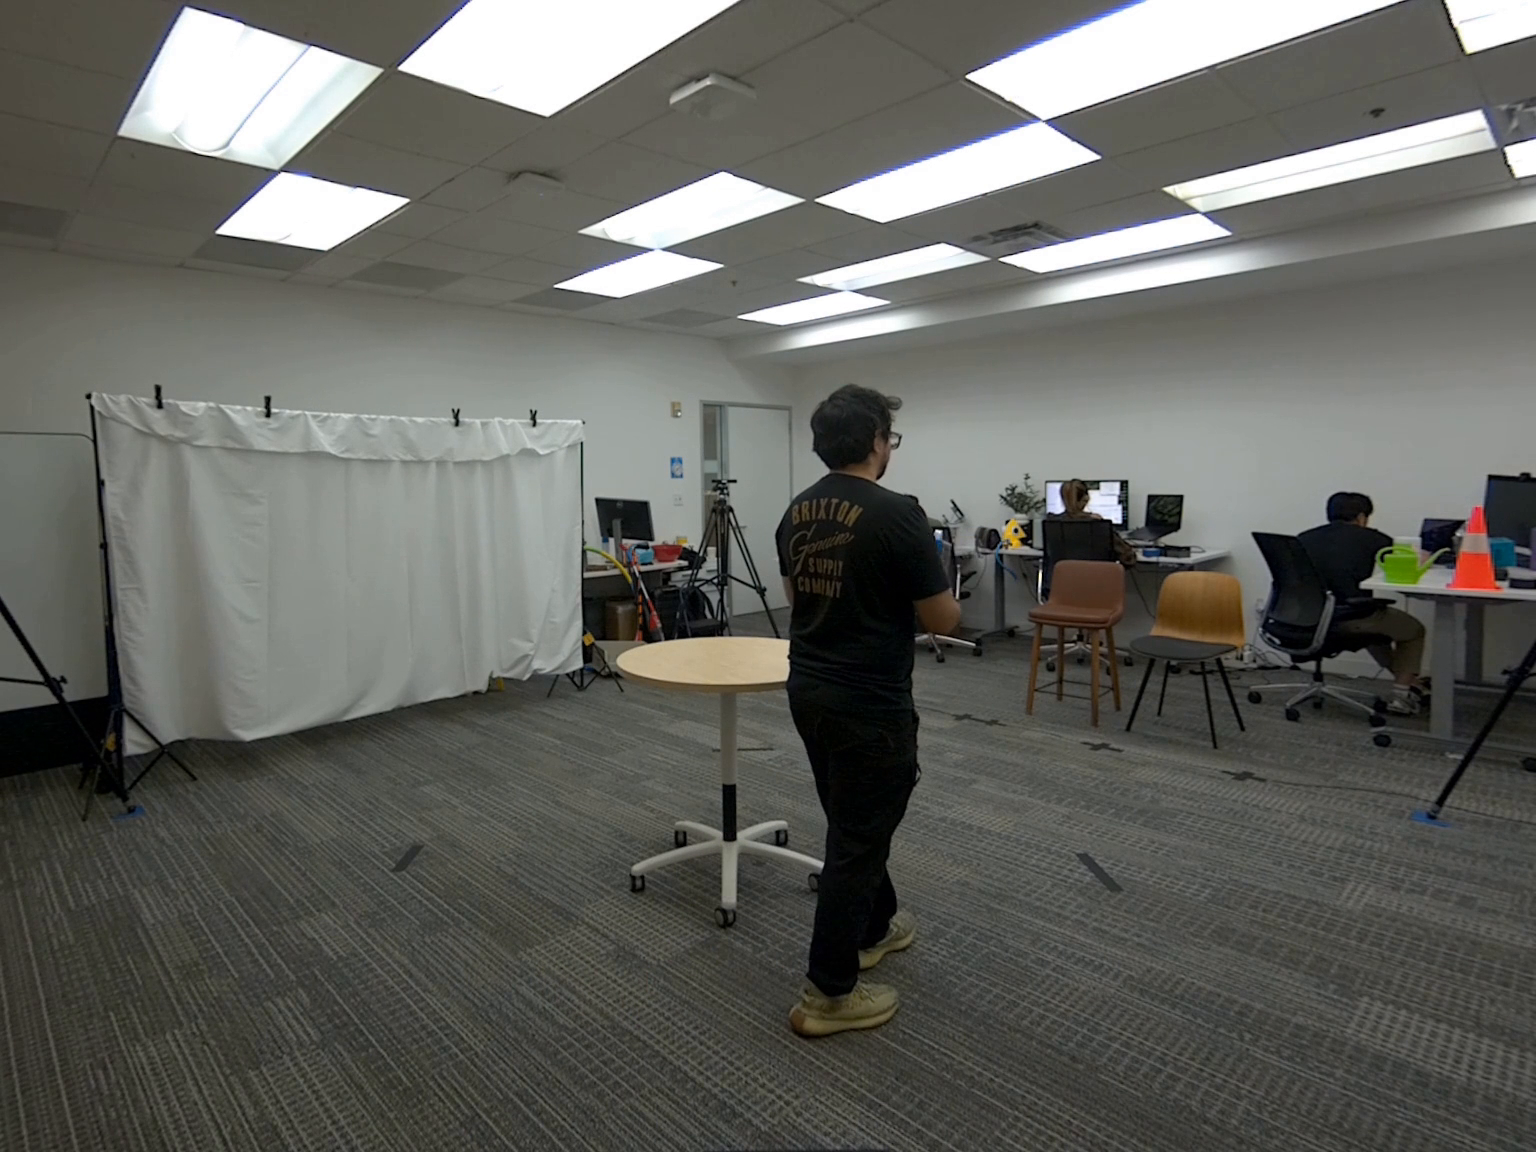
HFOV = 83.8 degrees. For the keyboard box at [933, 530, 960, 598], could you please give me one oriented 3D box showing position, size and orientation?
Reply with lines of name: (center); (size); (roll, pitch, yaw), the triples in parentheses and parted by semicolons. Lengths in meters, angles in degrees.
keyboard box: (0.485, -0.015, 2.434); (0.060, 0.176, 0.430); (5, 3, 13)
